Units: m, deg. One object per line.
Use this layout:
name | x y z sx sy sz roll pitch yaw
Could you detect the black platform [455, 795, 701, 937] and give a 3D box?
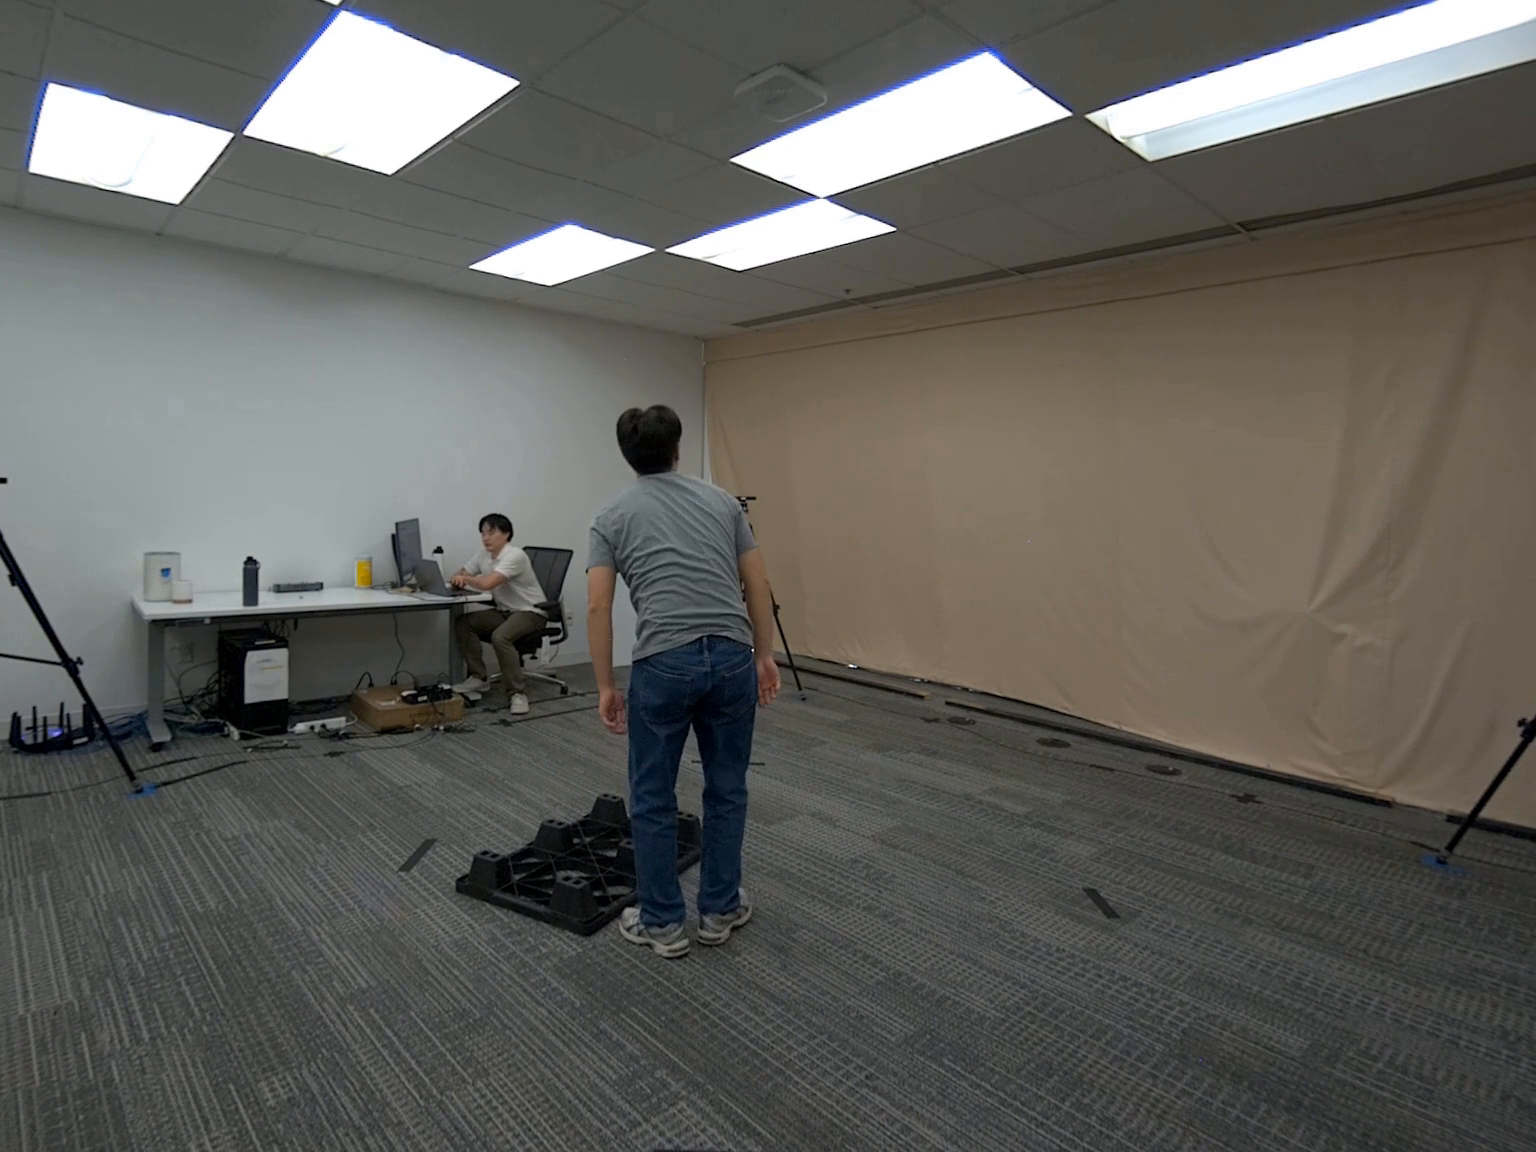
black platform | -0.657 1.023 3.135 0.618 0.143 0.791 4 6 27
